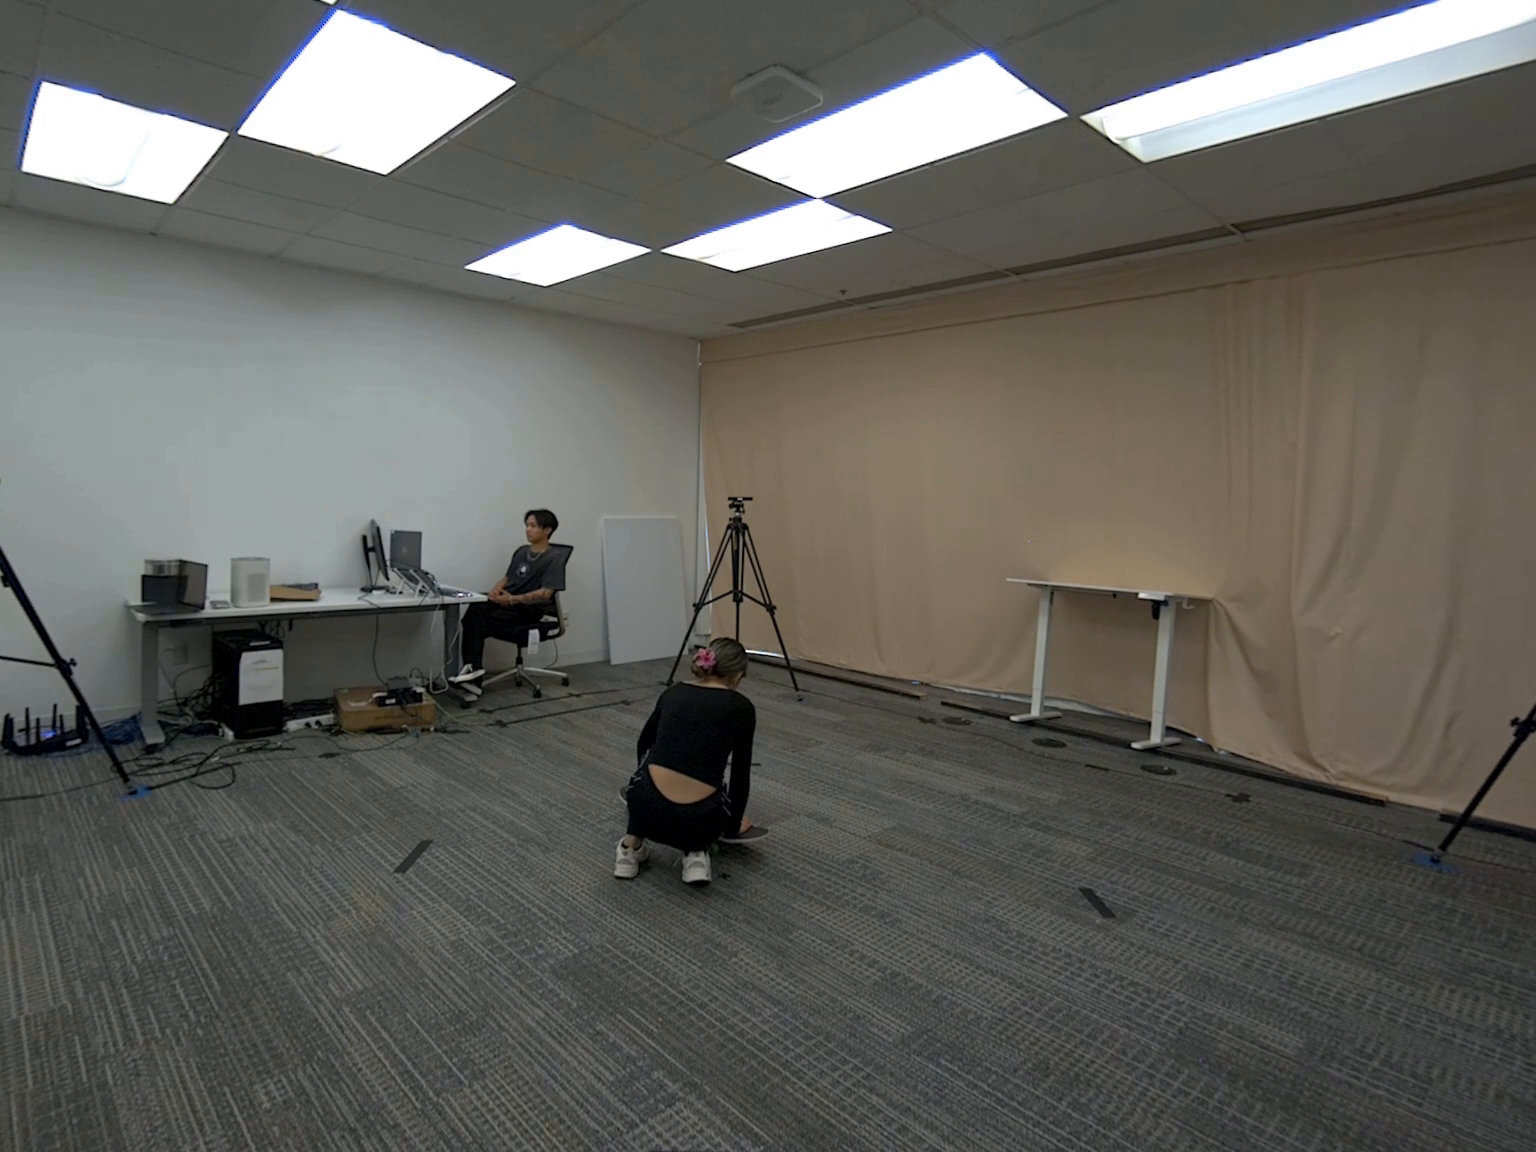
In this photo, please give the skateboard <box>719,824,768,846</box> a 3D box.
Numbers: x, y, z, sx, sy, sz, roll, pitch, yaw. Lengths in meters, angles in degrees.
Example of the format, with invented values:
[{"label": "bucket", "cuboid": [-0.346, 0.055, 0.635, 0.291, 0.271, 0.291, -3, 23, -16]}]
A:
[{"label": "skateboard", "cuboid": [-0.323, 1.013, 3.479, 0.805, 0.110, 0.189, 6, 6, 40]}]
